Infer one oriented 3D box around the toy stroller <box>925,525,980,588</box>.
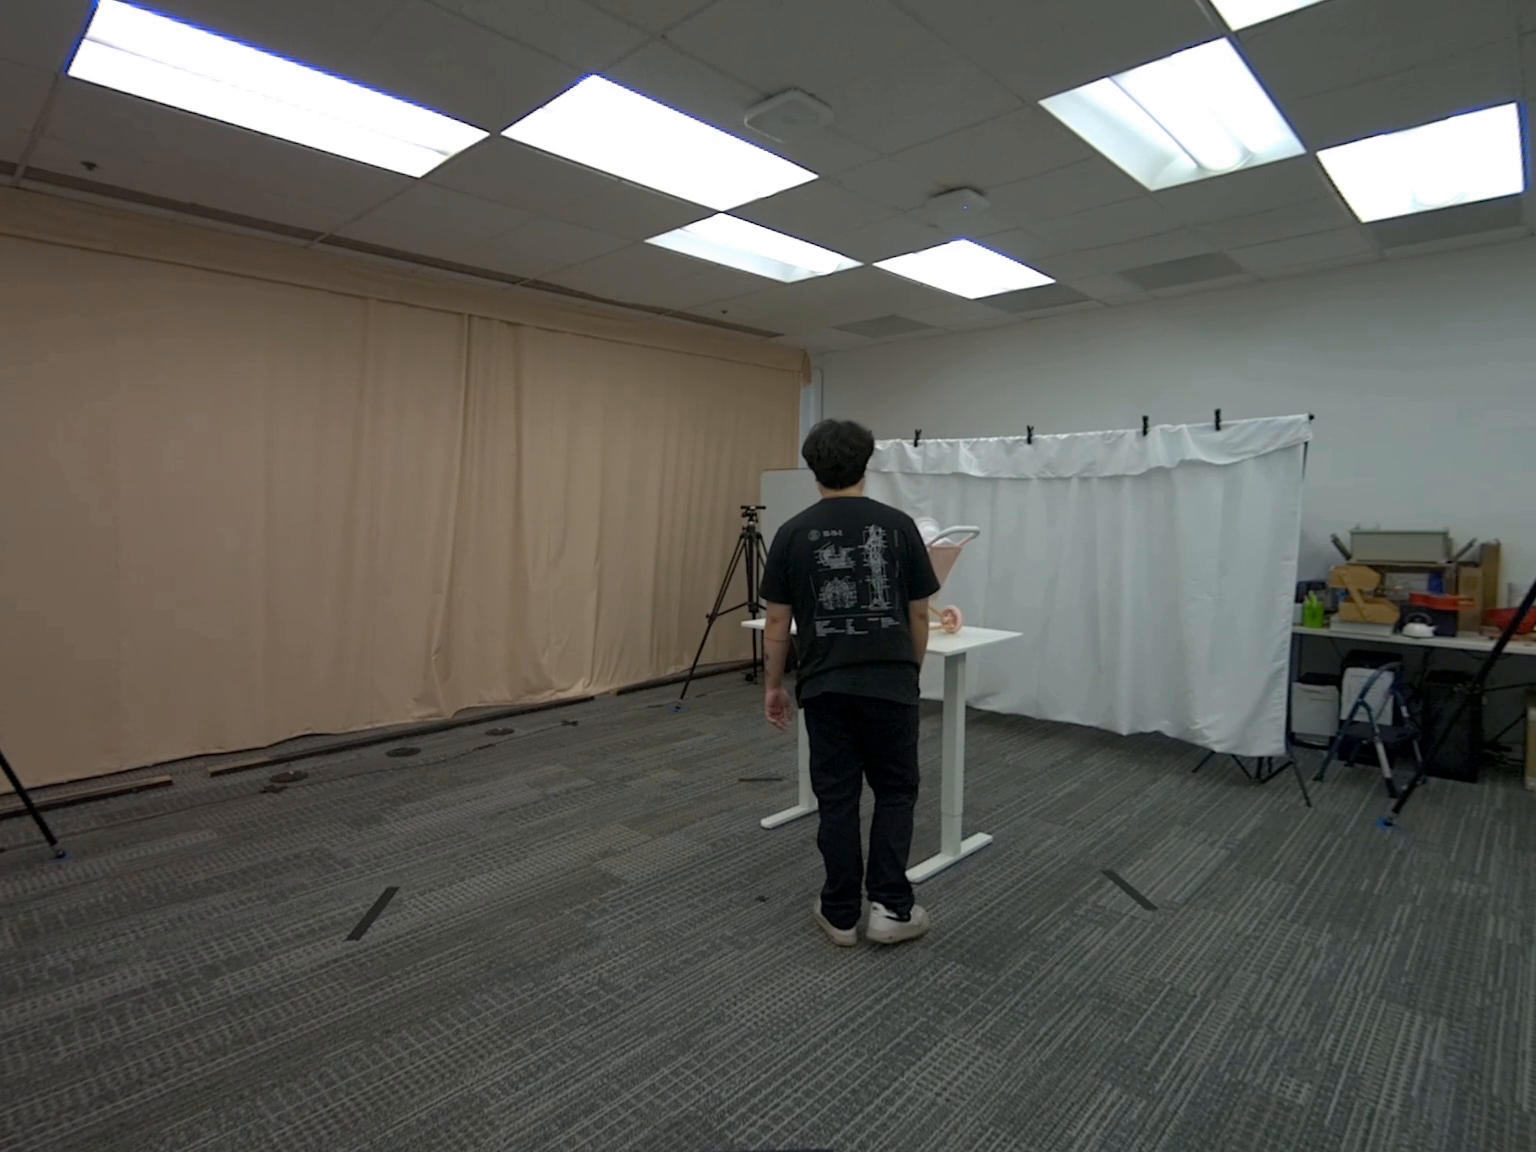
[{"bbox_3d":[0.611,0.007,3.345,0.273,0.531,0.354,-2,20,-35],"label":"toy stroller"}]
